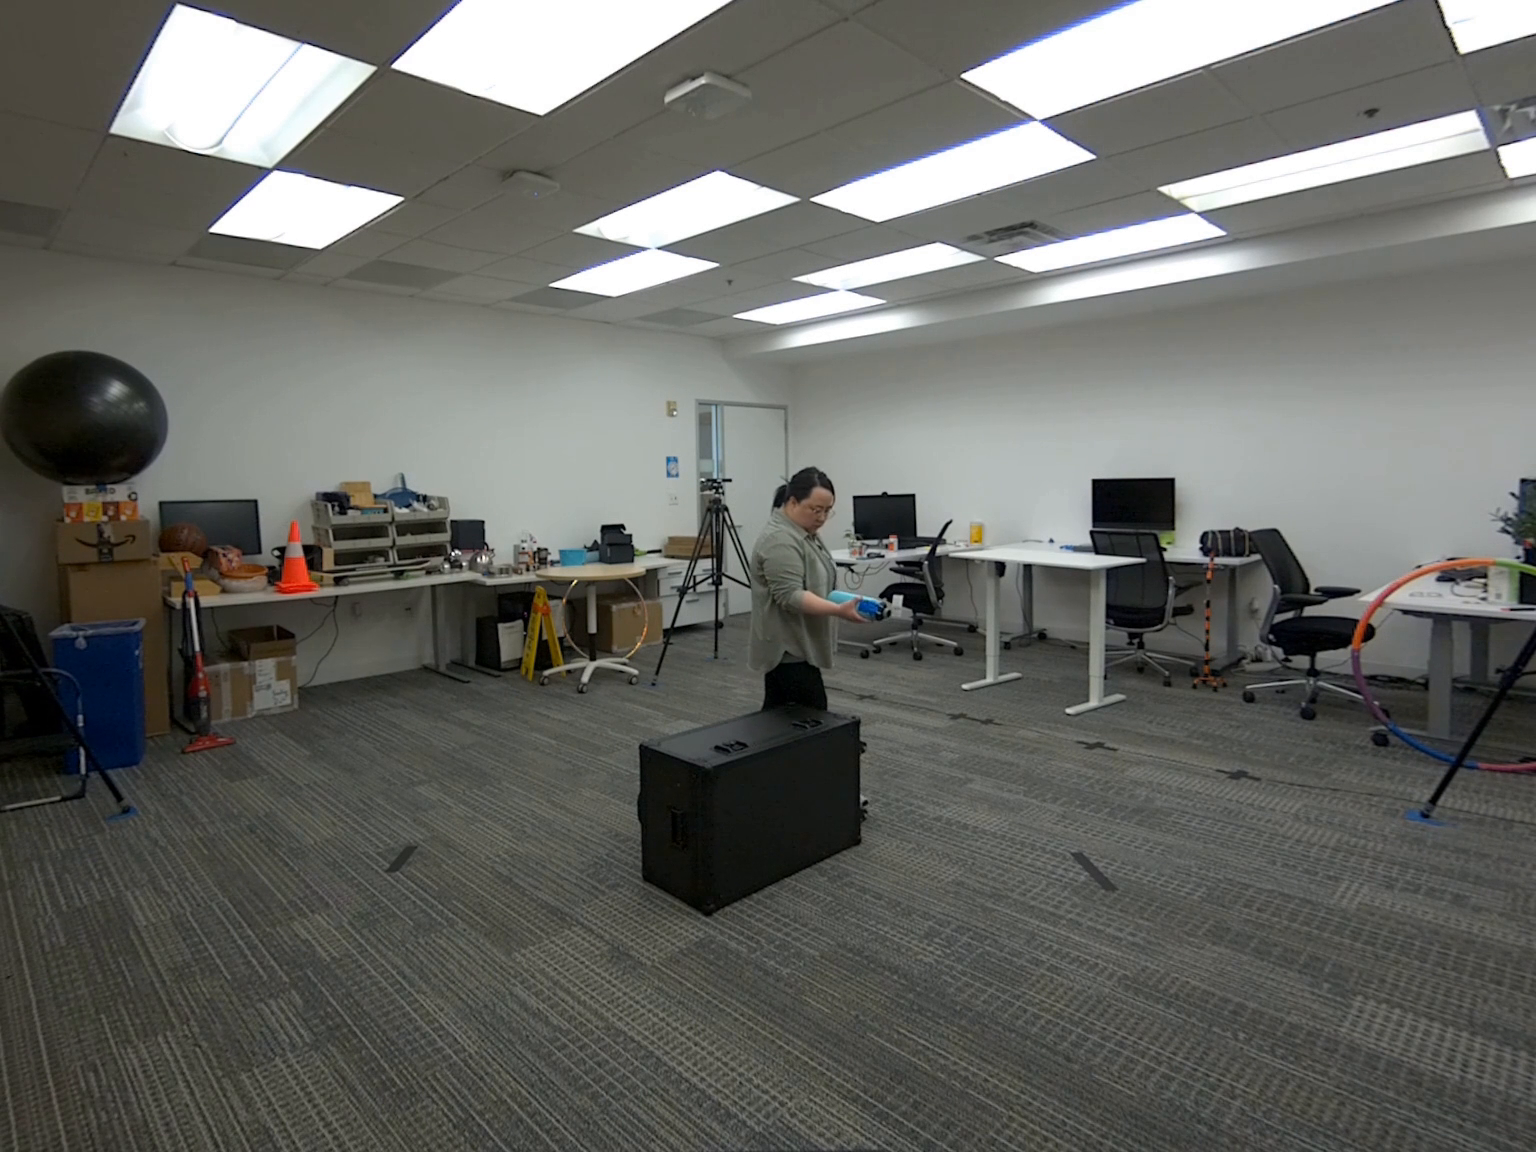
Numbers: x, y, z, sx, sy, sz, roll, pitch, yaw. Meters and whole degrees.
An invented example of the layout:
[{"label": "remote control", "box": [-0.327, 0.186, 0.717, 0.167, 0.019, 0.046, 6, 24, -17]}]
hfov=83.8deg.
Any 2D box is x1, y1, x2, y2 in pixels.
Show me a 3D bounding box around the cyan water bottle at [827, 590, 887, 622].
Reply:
[{"label": "cyan water bottle", "box": [0.362, 0.121, 3.413, 0.090, 0.092, 0.293, -5, 10, -40]}]
